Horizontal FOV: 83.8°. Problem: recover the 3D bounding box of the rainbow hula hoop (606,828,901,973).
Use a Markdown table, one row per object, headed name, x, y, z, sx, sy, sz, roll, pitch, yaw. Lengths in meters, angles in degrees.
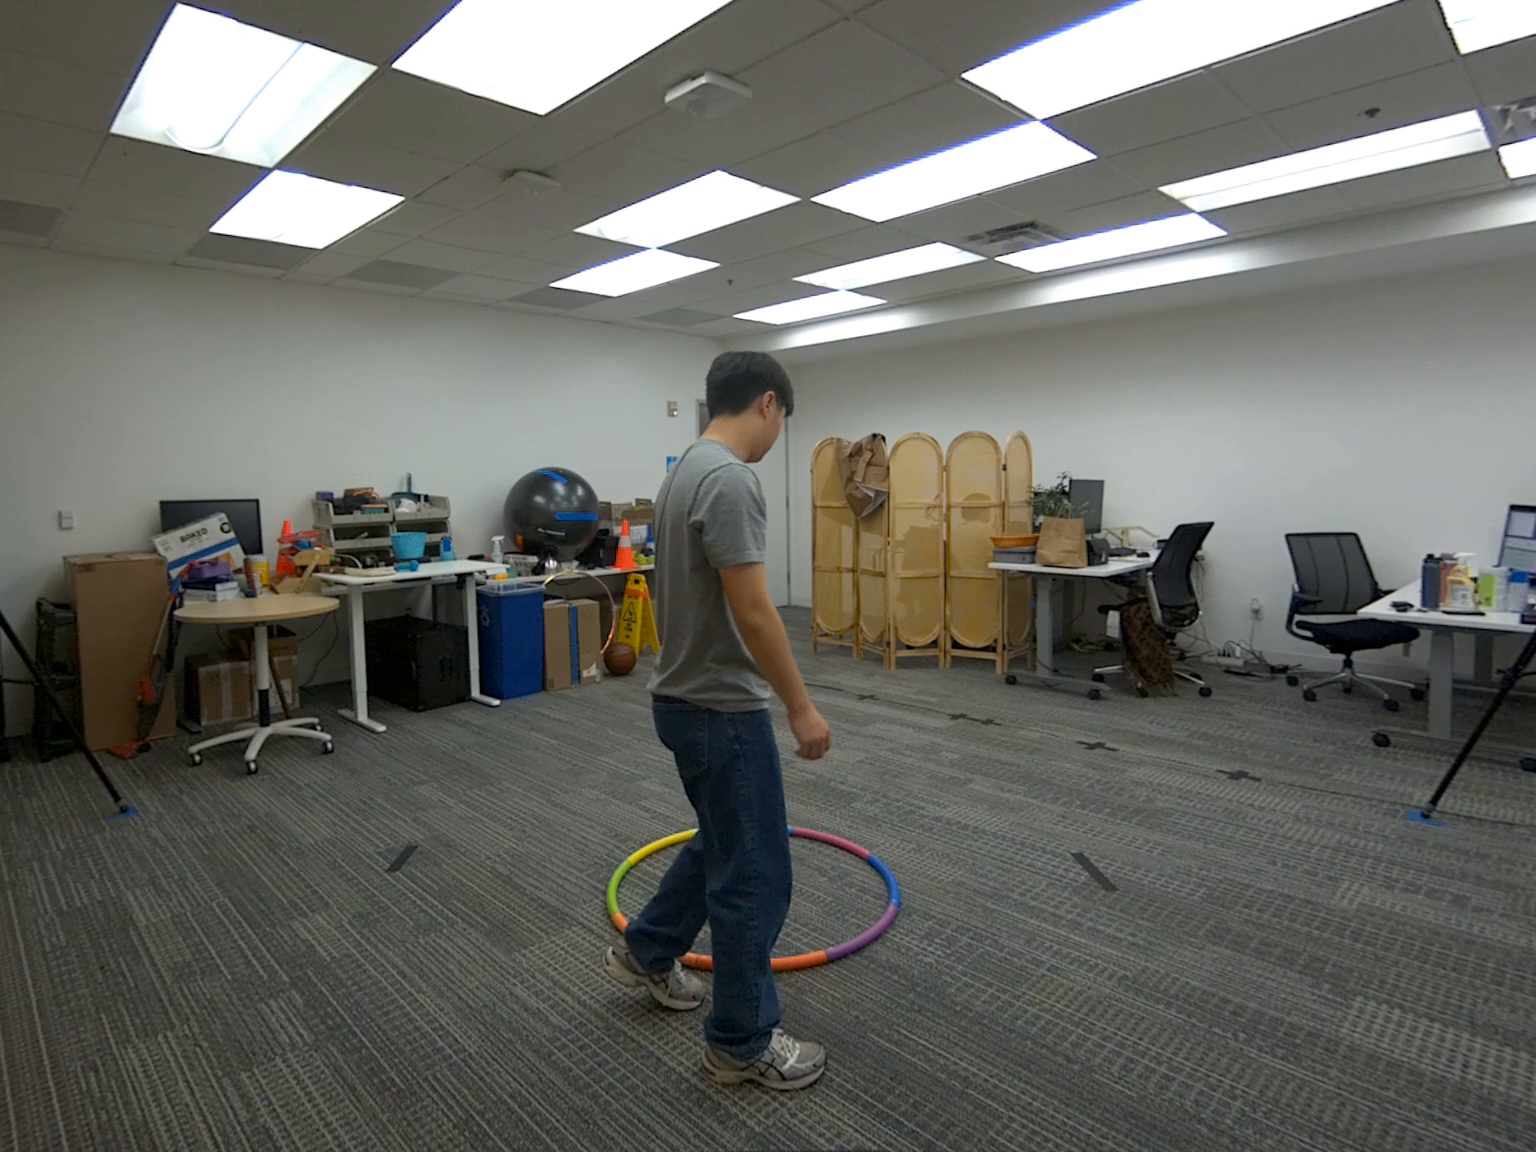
| name | x | y | z | sx | sy | sz | roll | pitch | yaw |
| --- | --- | --- | --- | --- | --- | --- | --- | --- | --- |
| rainbow hula hoop | -0.056 | 1.037 | 2.896 | 0.978 | 0.035 | 0.984 | -1 | 7 | -2 |
